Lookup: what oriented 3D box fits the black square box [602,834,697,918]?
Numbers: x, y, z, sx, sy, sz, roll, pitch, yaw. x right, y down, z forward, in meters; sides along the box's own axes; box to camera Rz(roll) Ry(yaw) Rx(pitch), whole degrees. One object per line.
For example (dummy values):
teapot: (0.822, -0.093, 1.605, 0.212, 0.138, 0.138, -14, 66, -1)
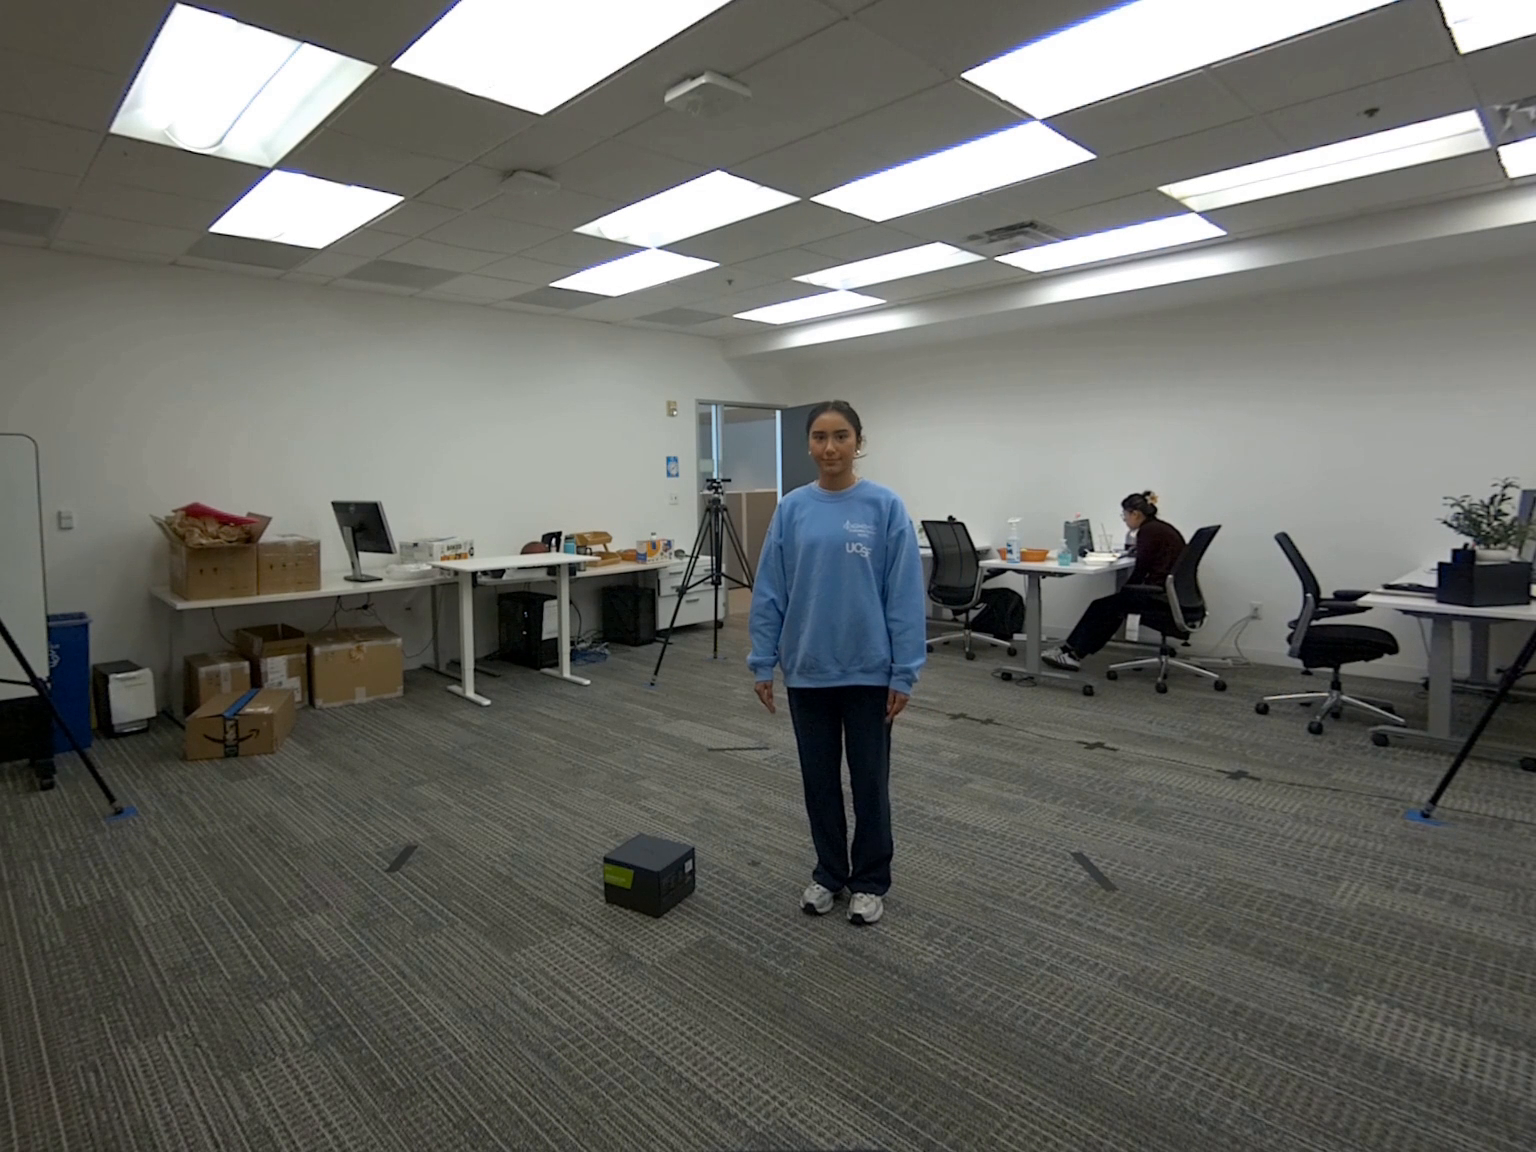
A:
black square box: (-0.392, 0.994, 2.862, 0.234, 0.155, 0.212, 2, 7, 29)
